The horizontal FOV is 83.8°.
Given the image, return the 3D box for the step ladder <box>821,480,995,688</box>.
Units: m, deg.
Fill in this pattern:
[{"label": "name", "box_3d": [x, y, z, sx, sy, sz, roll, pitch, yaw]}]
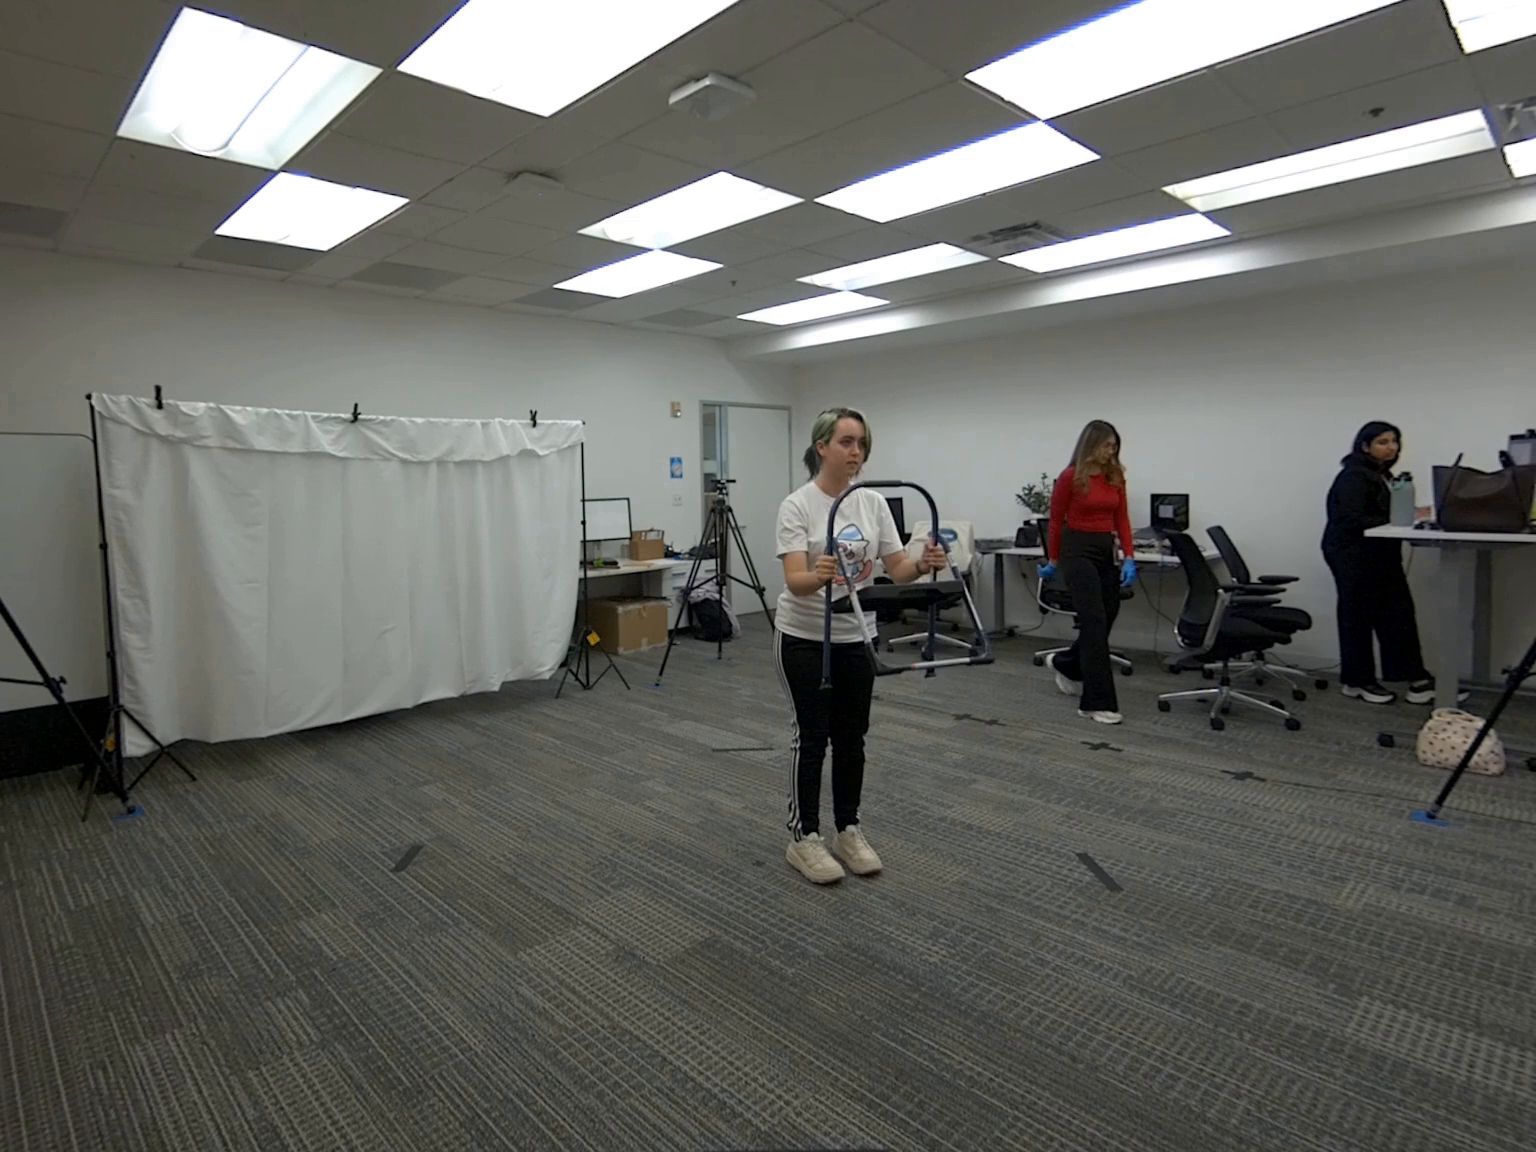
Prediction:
[{"label": "step ladder", "box_3d": [0.385, 0.021, 2.679, 0.421, 0.614, 0.352, -2, -14, -25]}]
